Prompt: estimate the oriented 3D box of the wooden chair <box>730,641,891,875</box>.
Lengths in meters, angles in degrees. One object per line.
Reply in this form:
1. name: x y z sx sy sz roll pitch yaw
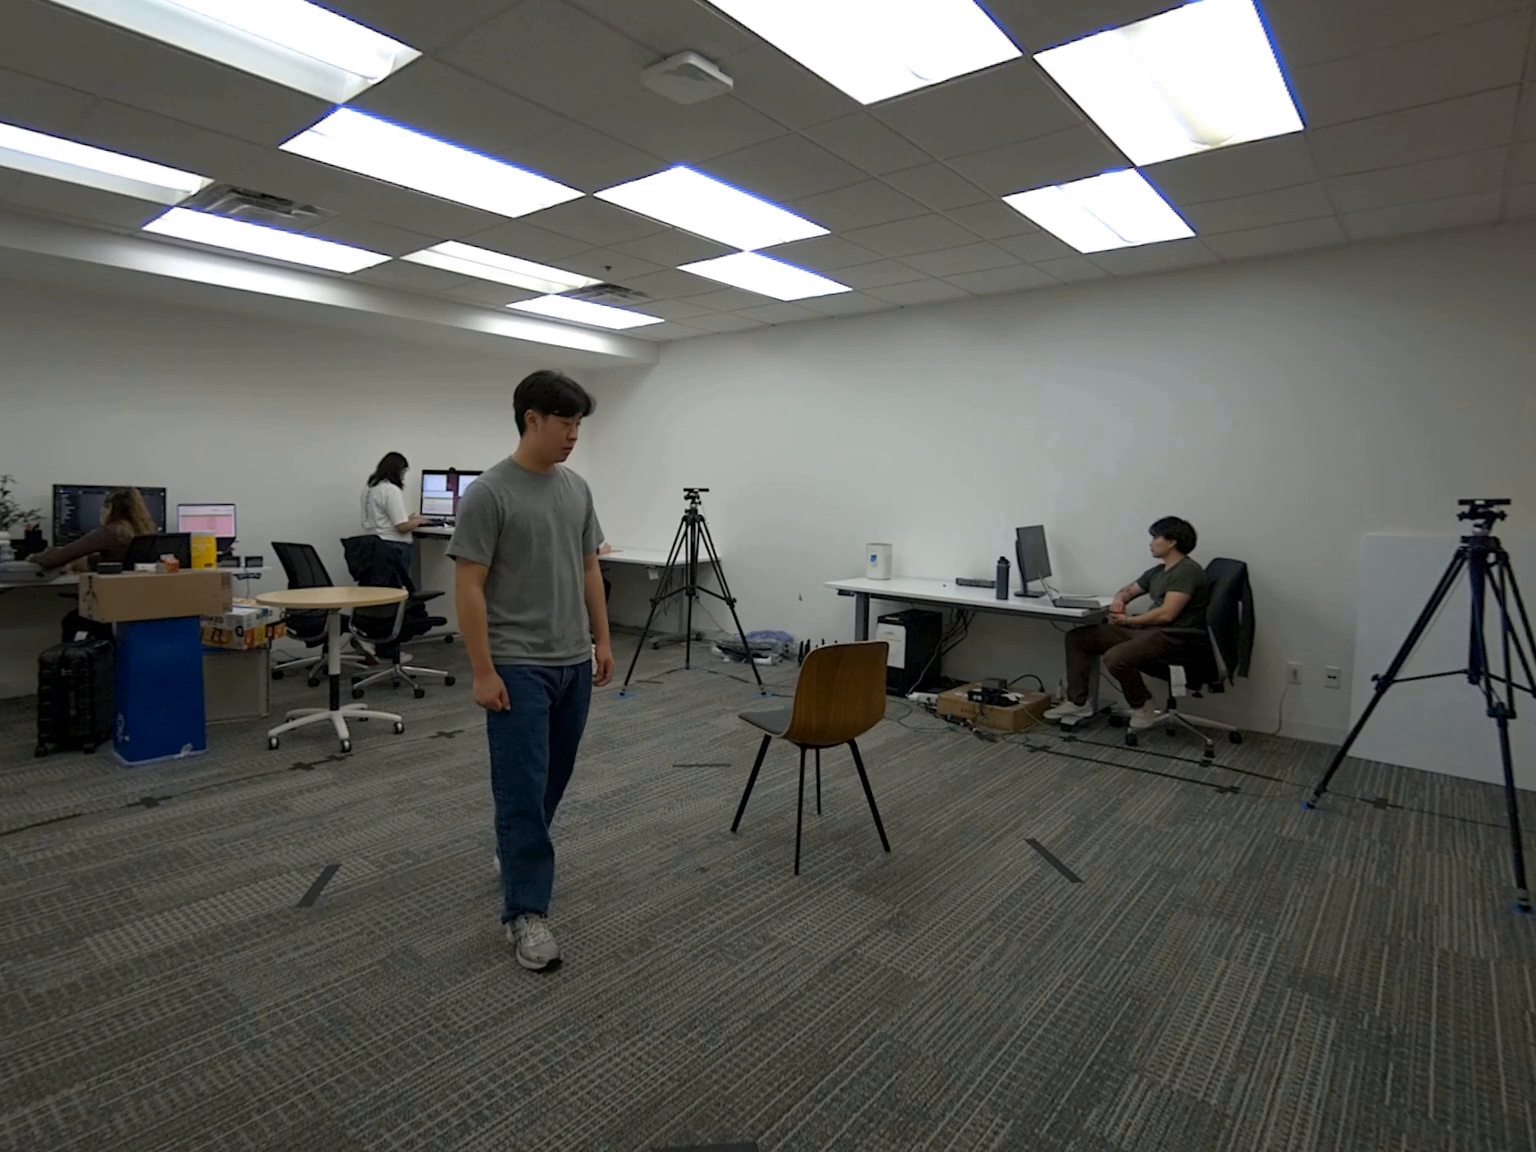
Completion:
1. wooden chair: 0.154 0.625 3.359 0.465 0.872 0.541 -1 8 -32
